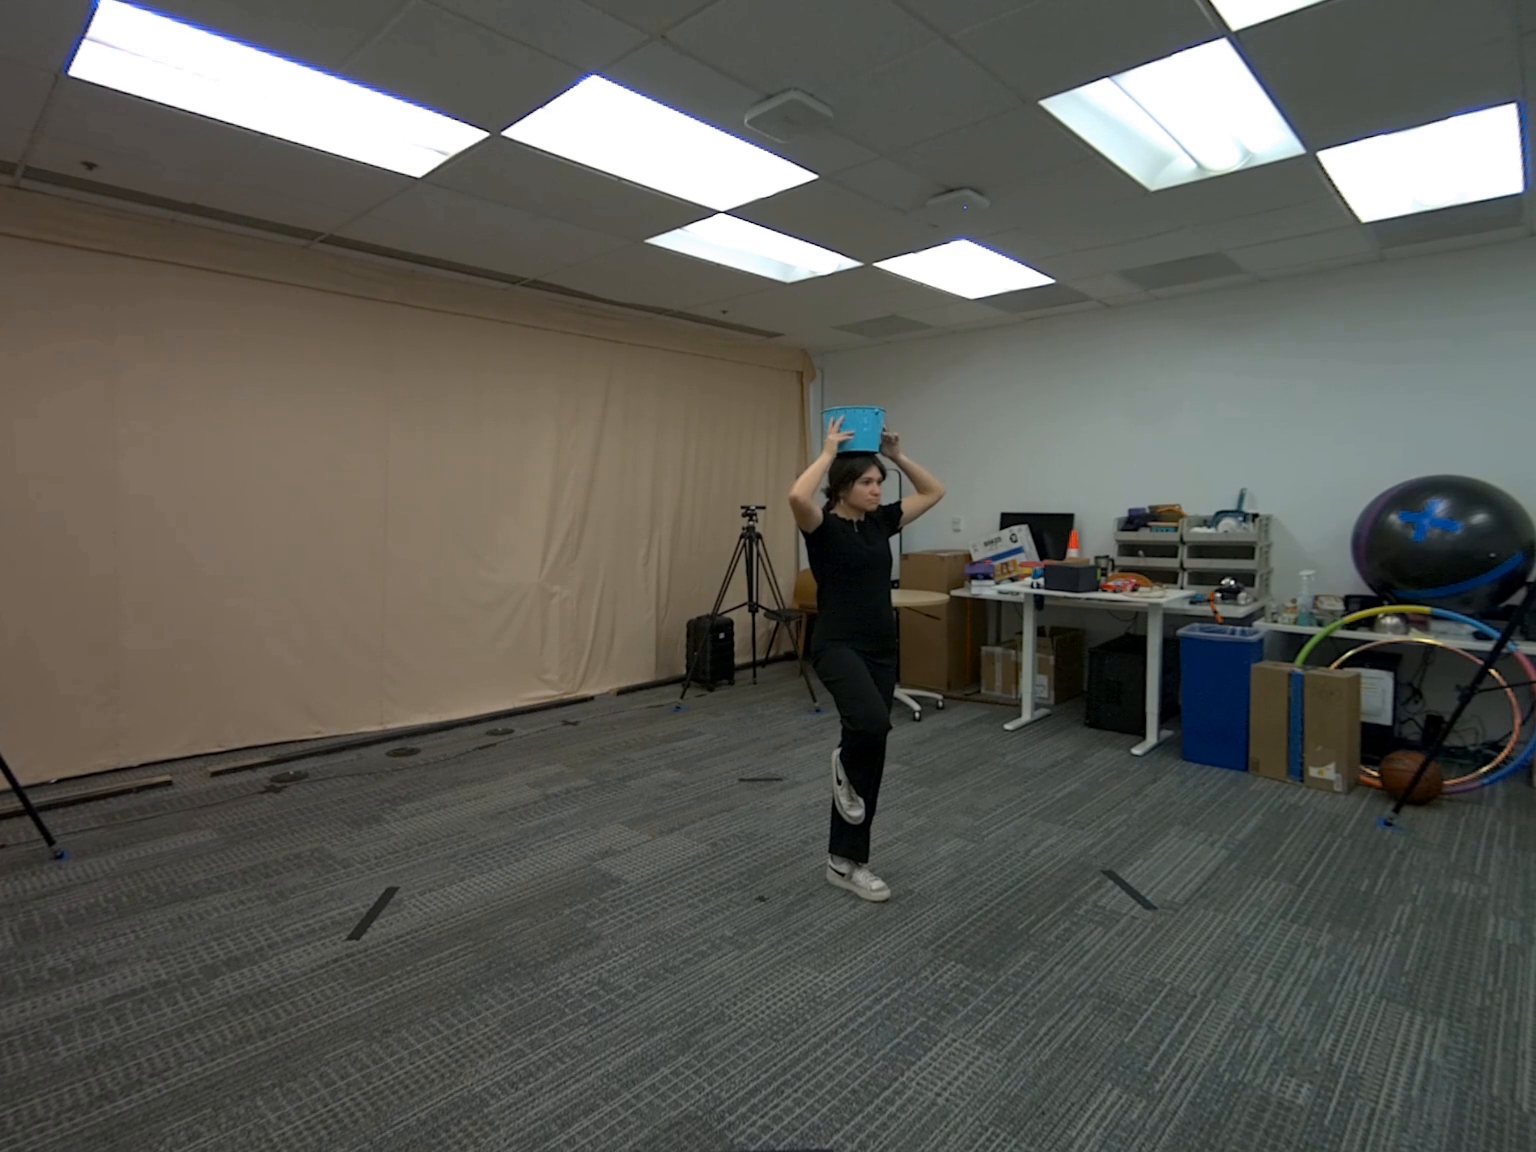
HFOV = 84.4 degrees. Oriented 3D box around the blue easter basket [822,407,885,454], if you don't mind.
[{"bbox_3d":[0.322,-0.523,3.047,0.243,0.156,0.244,-1,2,-2],"label":"blue easter basket"}]
